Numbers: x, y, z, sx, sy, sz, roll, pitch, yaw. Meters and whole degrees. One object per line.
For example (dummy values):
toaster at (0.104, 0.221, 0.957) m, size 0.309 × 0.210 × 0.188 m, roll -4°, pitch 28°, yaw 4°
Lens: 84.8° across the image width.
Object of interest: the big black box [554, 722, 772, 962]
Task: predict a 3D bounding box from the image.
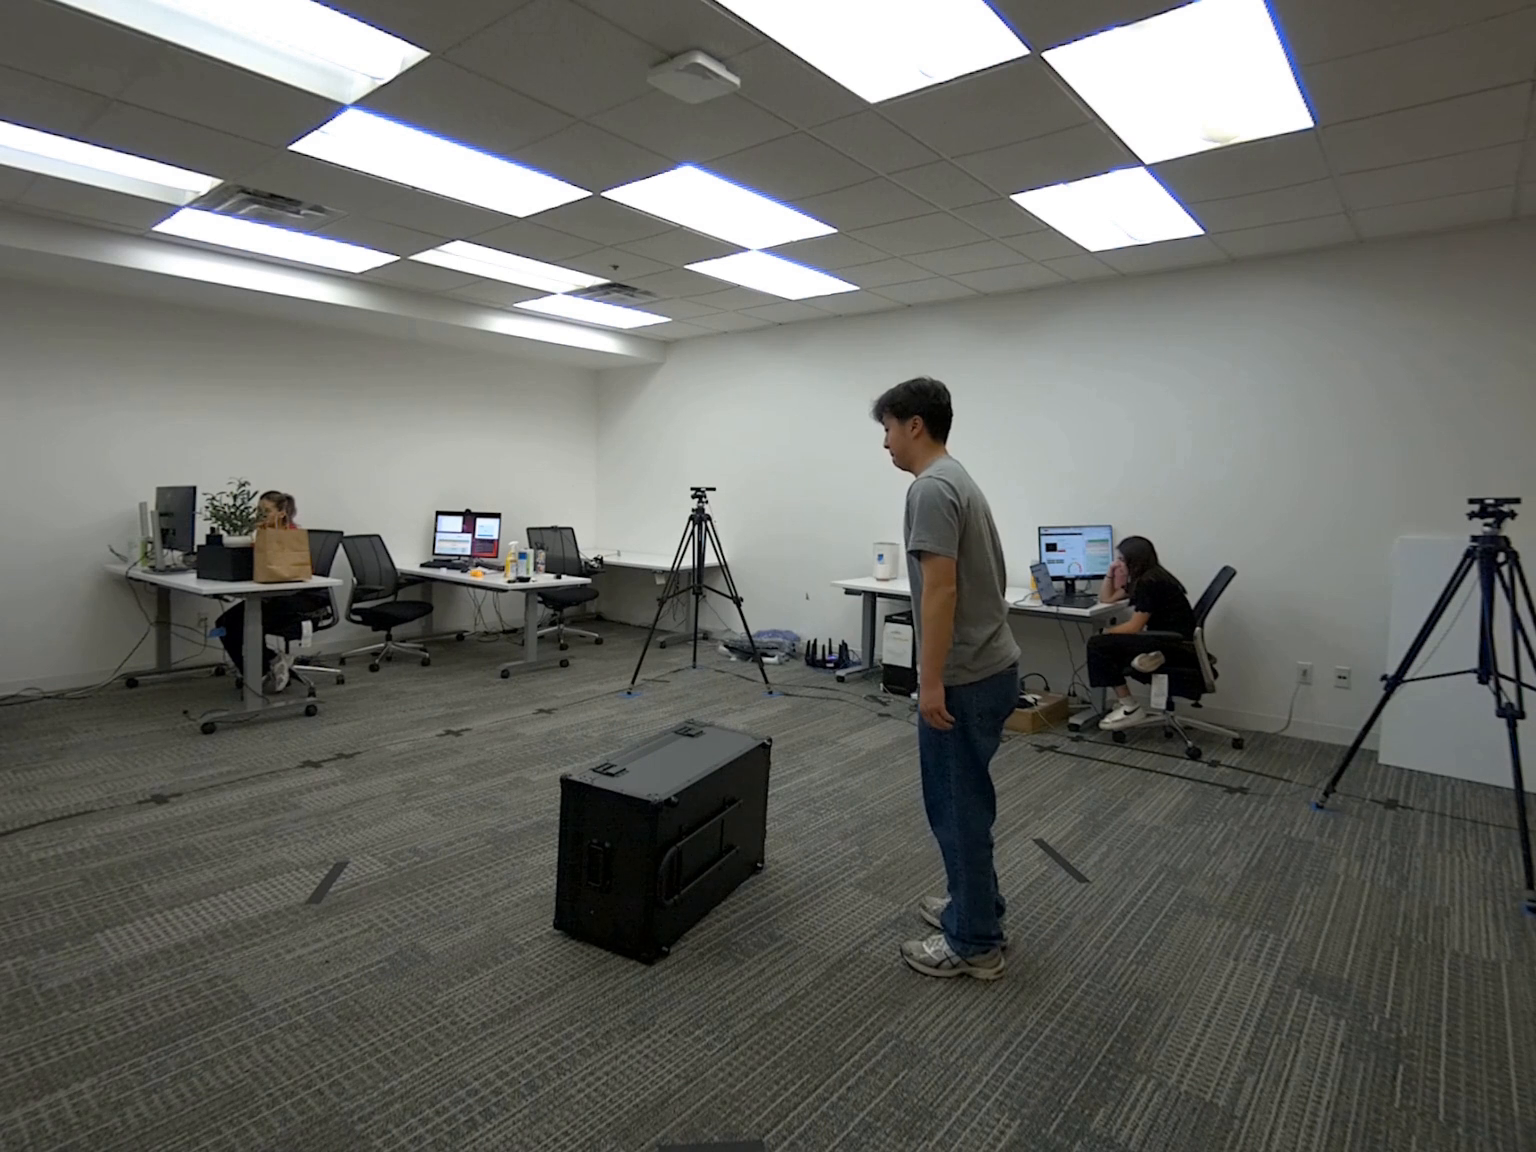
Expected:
big black box at (-0.307, 0.828, 2.888) m, size 0.407 × 0.519 × 0.842 m, roll 5°, pitch 6°, yaw 25°
